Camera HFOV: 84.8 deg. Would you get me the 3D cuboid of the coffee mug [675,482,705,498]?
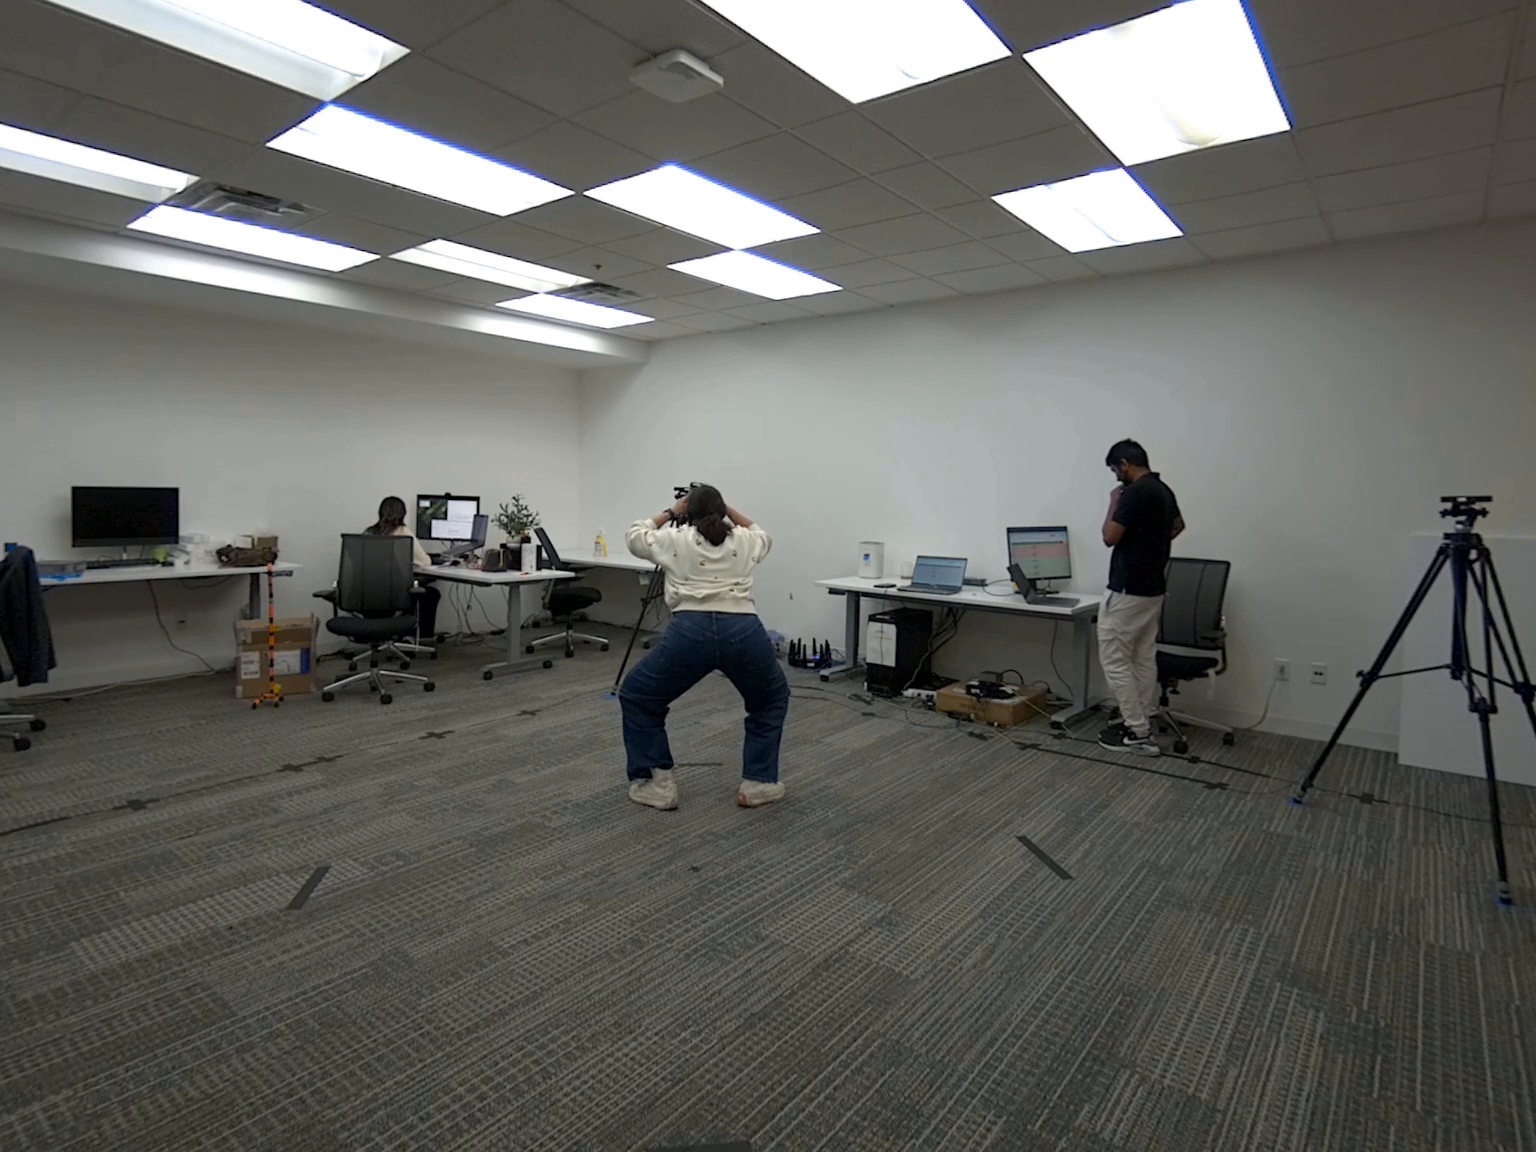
[{"bbox_3d":[-0.371,-0.361,4.199,0.086,0.200,0.127,0,24,-25],"label":"coffee mug"}]
